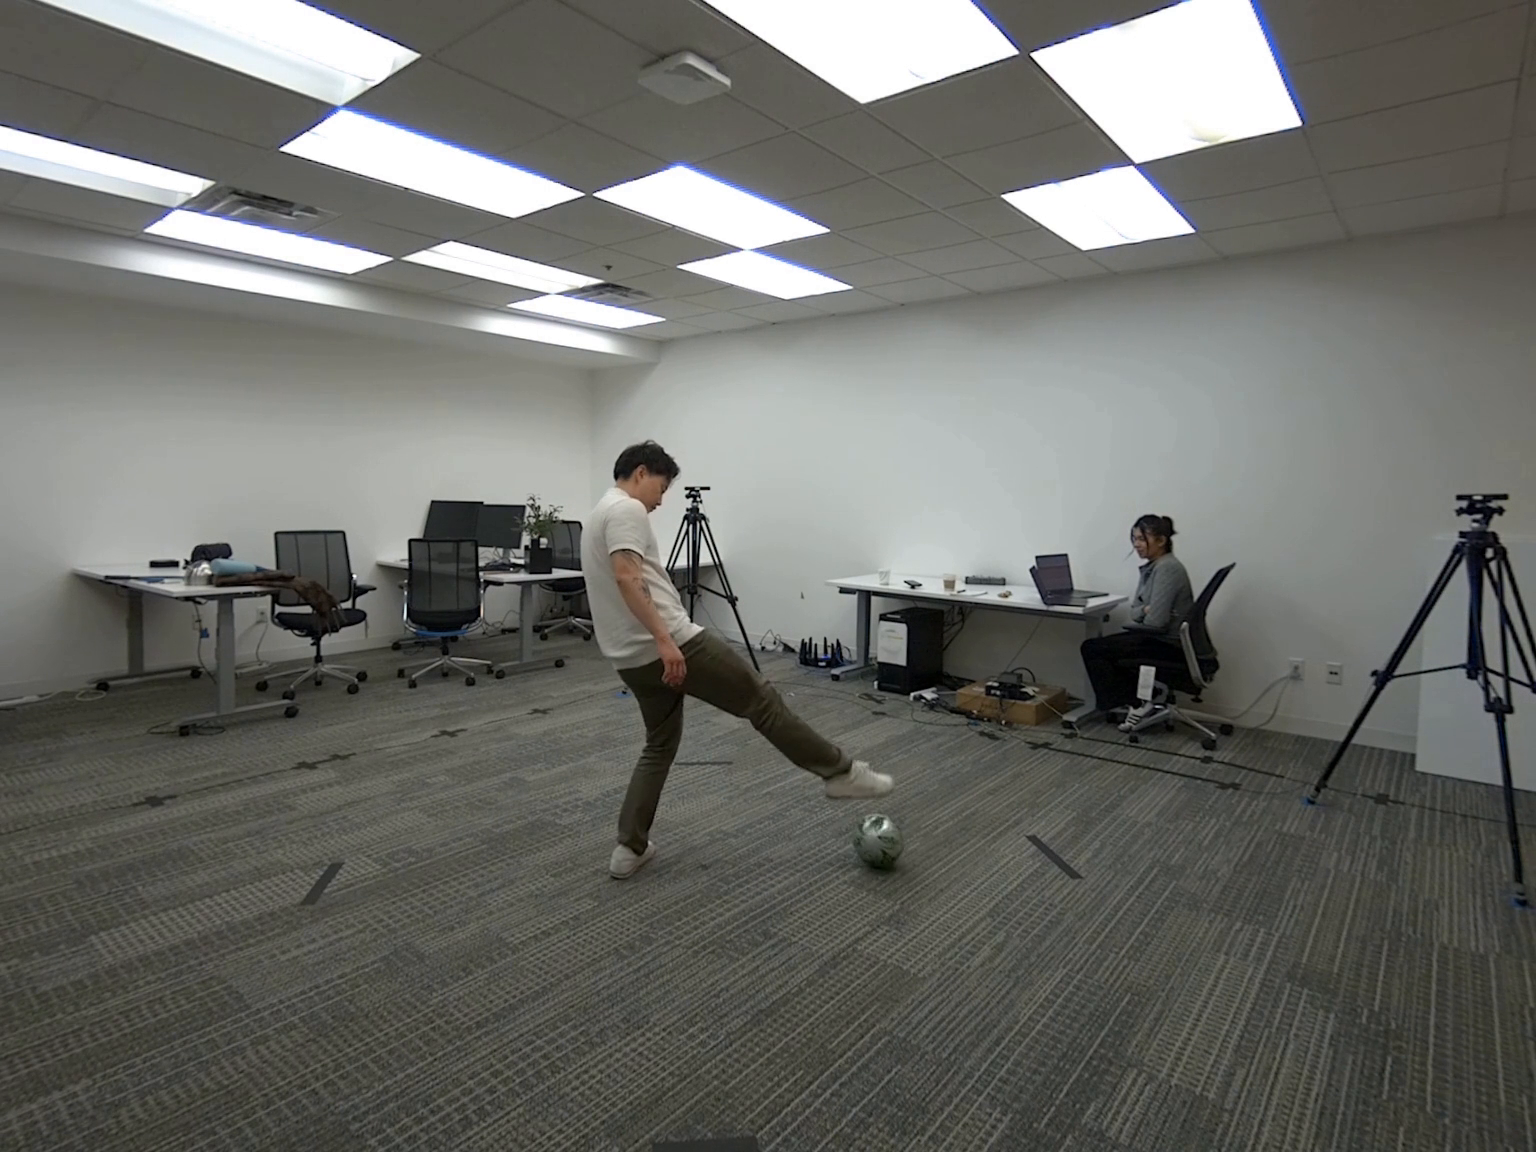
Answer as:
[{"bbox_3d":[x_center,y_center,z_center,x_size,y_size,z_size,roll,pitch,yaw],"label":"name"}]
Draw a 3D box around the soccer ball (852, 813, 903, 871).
[{"bbox_3d":[0.395,0.980,3.160,0.187,0.187,0.188,1,4,-2],"label":"soccer ball"}]
